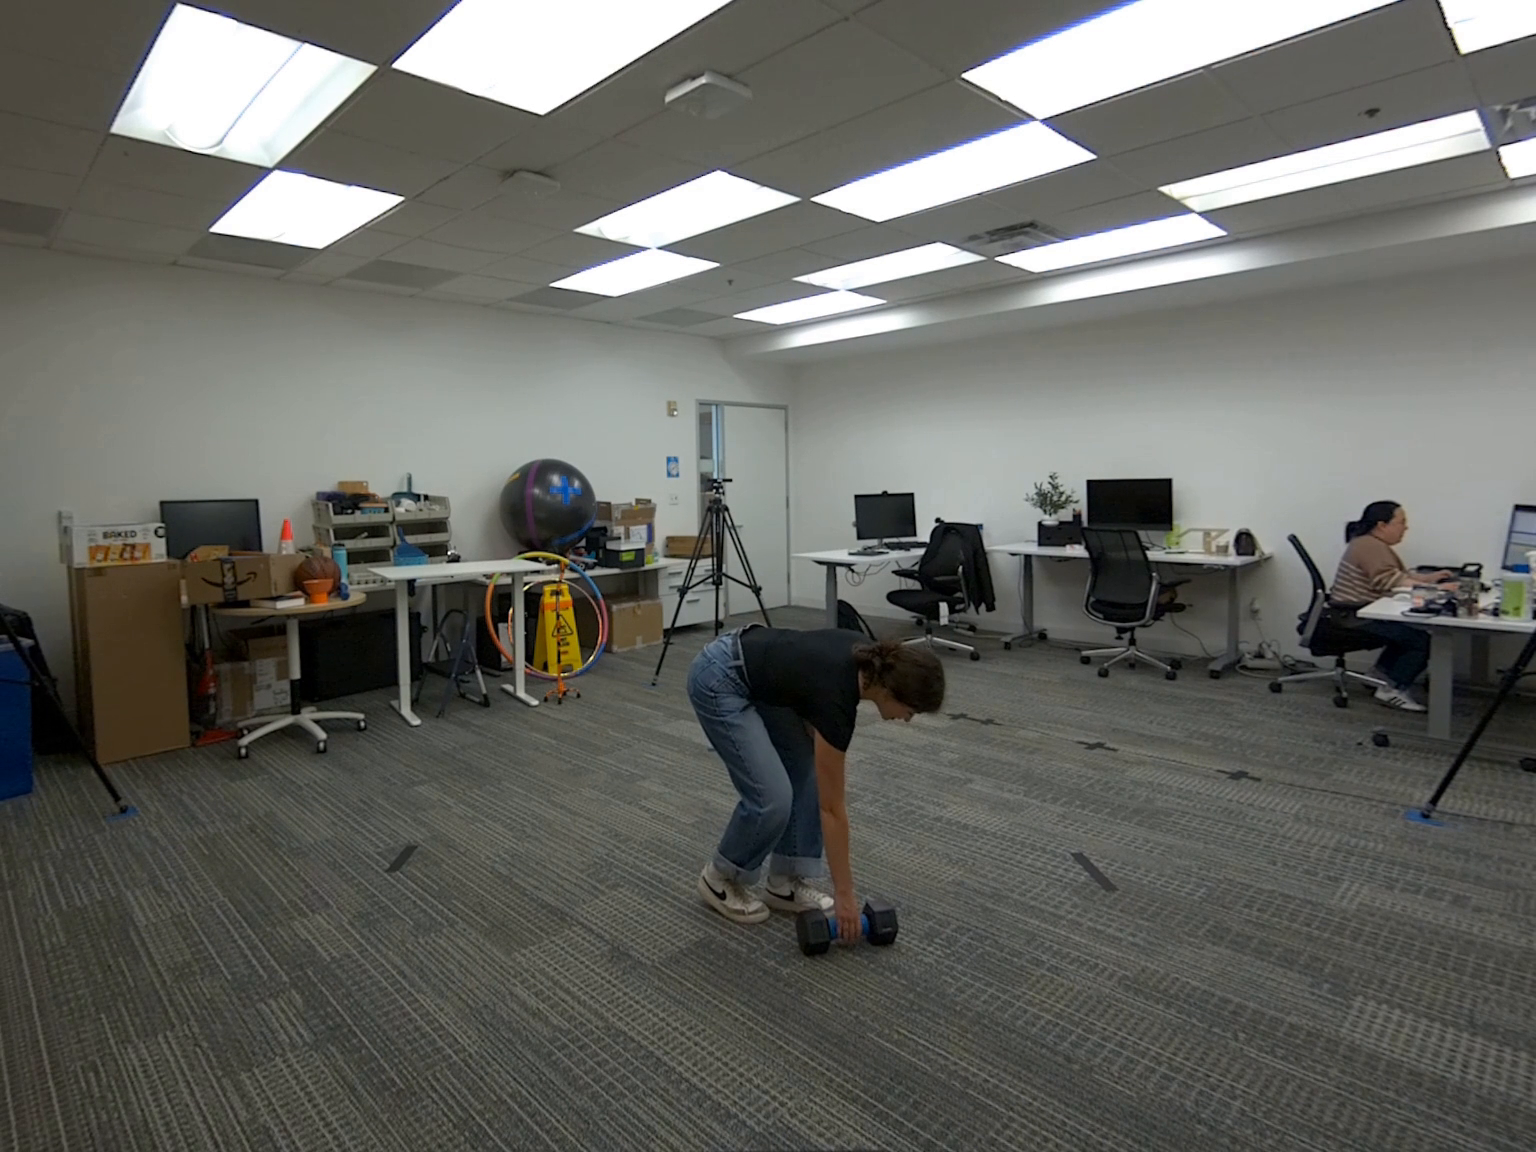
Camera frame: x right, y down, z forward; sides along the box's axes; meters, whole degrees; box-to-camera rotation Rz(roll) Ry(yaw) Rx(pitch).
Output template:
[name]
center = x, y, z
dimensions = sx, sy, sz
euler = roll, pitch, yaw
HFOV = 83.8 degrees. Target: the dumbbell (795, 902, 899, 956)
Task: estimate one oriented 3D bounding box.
[dumbbell]
center = 0.243, 1.050, 2.549
dimensions = 0.291, 0.120, 0.112
euler = -1, 36, -10
